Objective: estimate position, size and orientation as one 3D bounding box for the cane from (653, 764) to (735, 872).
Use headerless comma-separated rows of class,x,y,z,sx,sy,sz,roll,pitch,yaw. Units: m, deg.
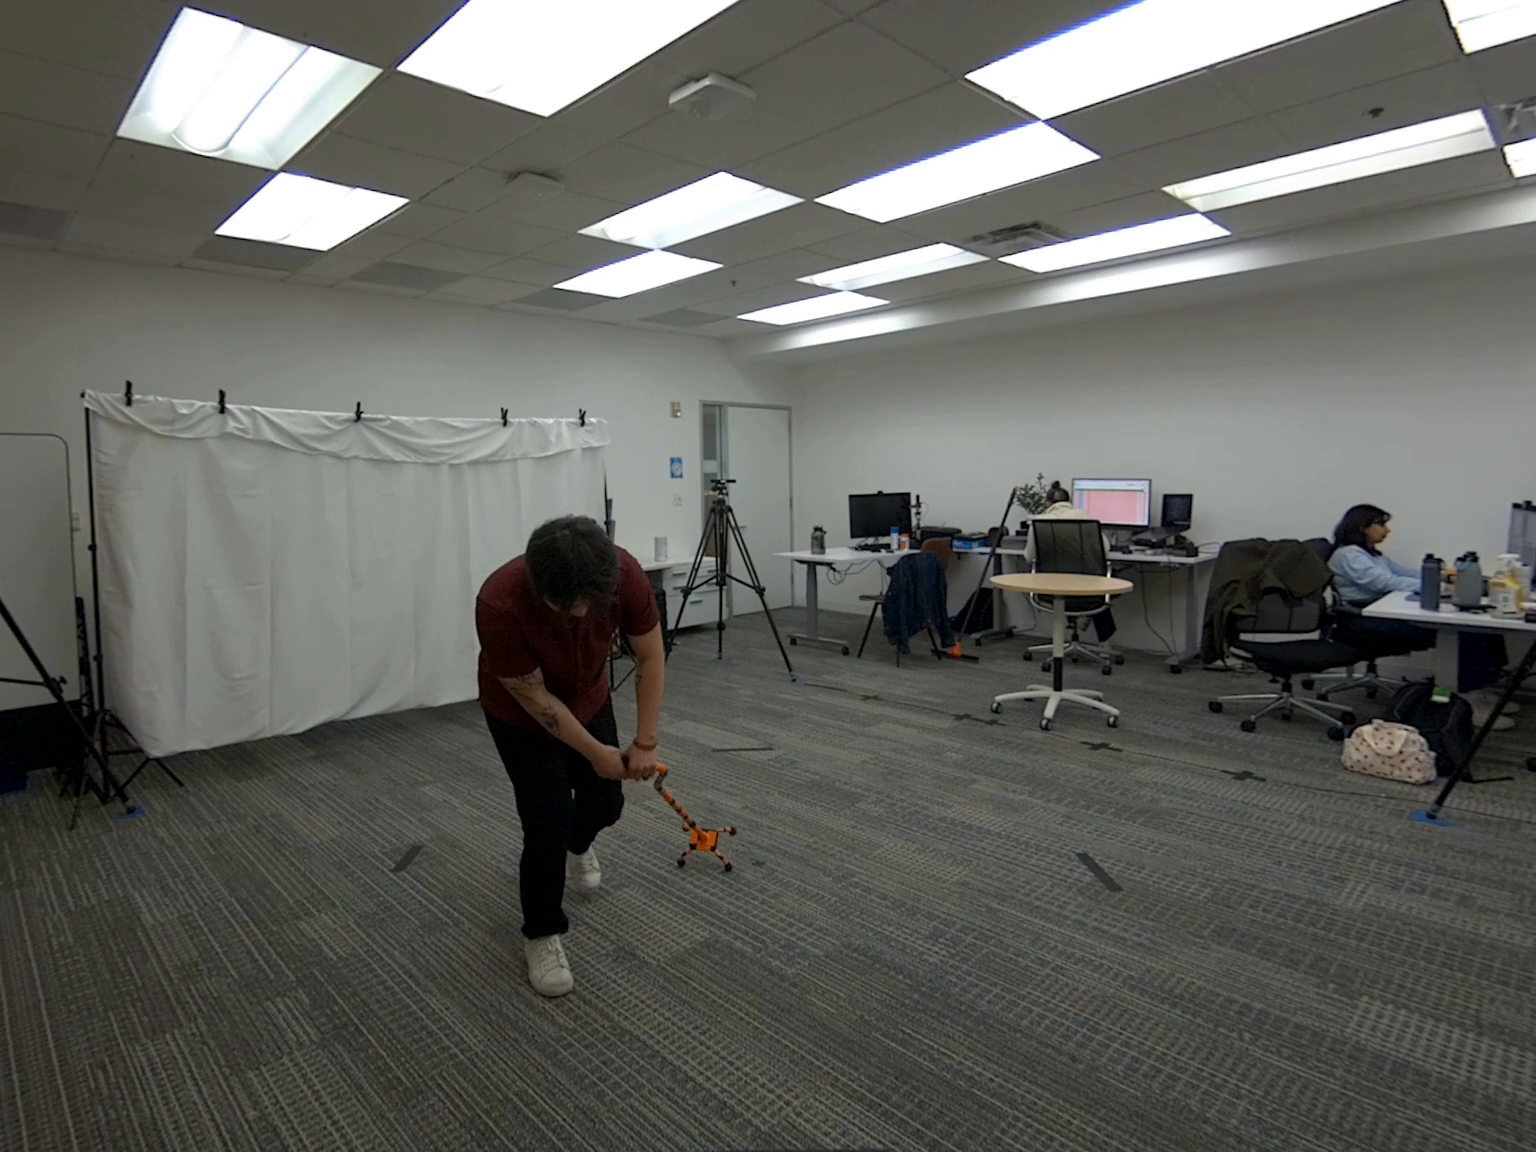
cane,-0.285,0.763,2.752,0.209,0.155,0.879,1,-31,11
